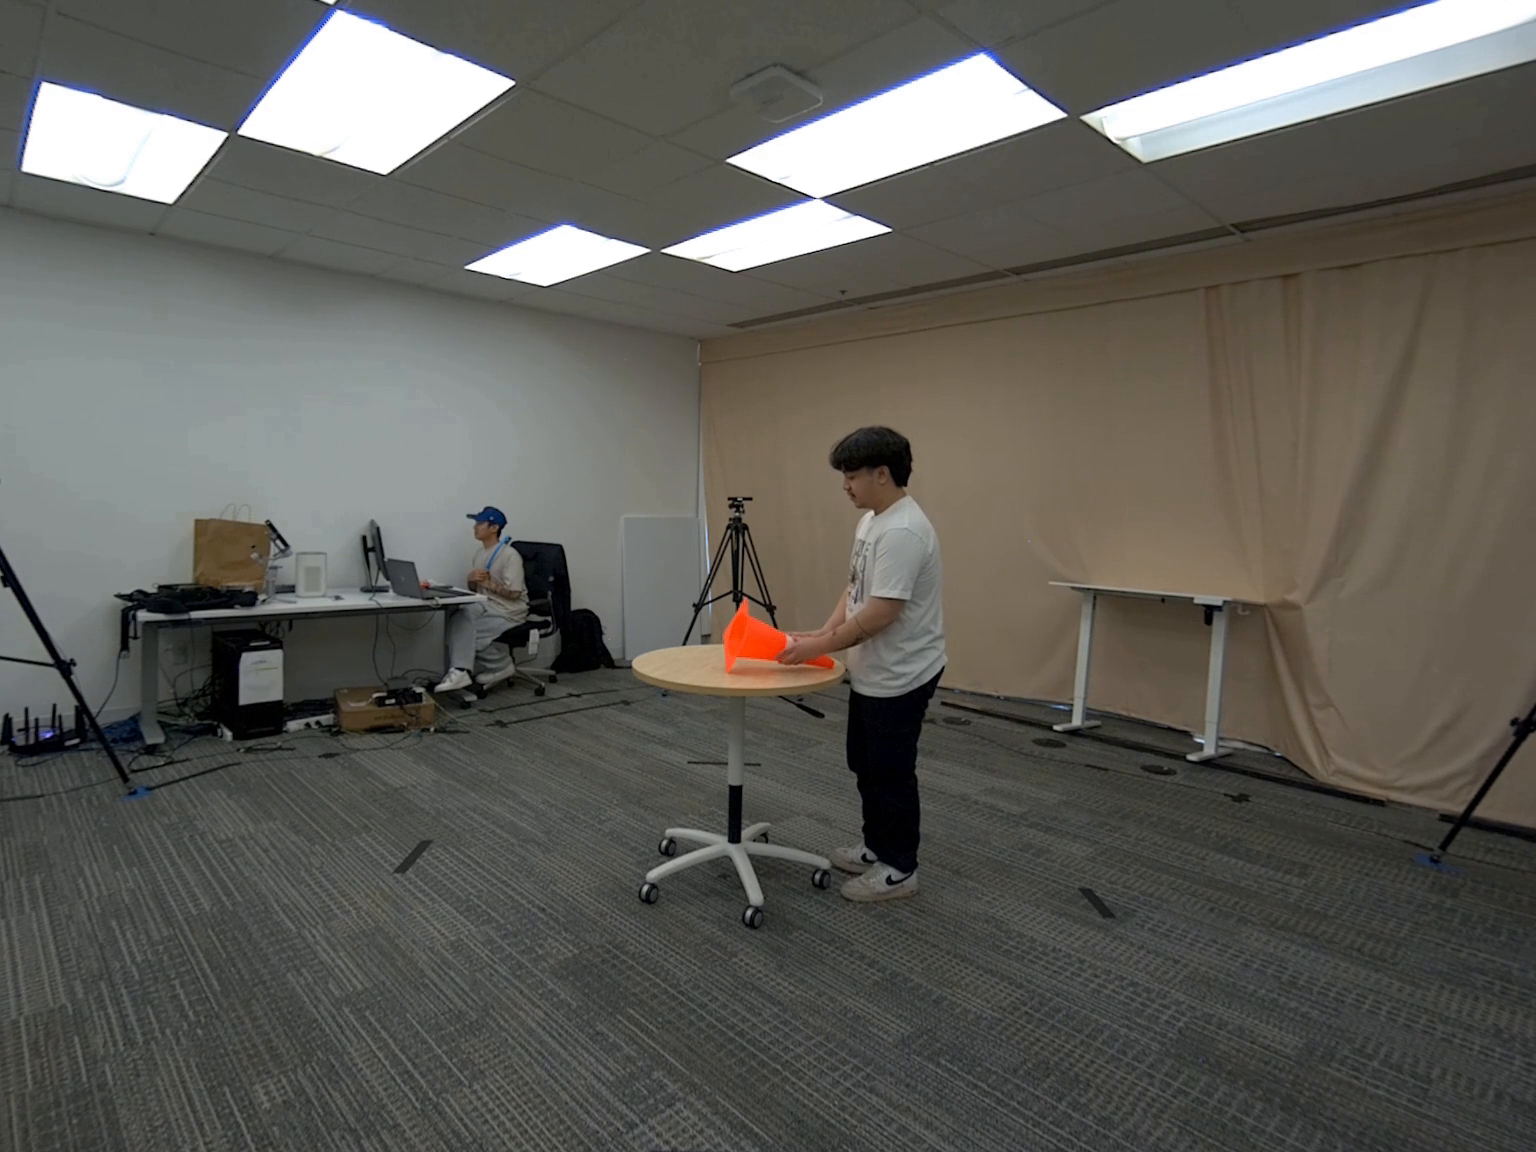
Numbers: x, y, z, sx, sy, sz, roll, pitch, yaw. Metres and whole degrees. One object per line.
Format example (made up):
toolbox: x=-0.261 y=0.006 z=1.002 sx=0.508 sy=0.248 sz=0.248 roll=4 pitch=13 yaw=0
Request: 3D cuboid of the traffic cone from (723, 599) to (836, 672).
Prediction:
traffic cone: x=0.062 y=0.261 z=2.942 sx=0.378 sy=0.203 sz=0.208 roll=19 pitch=32 yaw=-16
